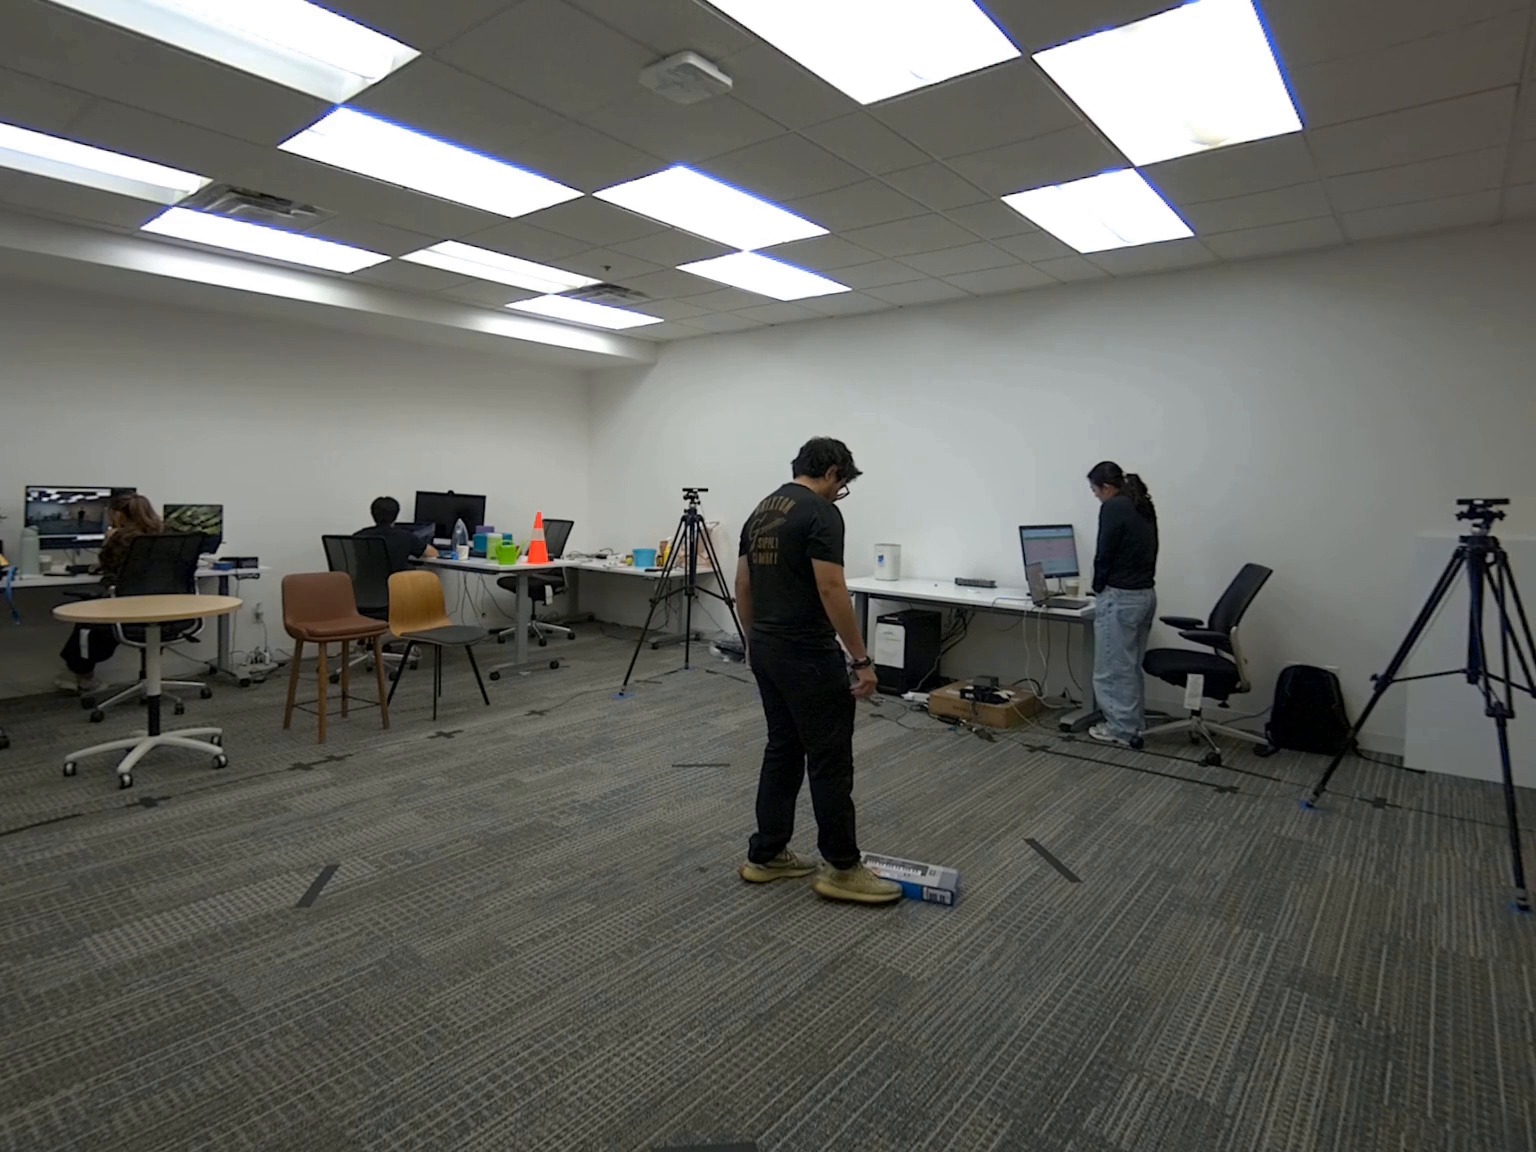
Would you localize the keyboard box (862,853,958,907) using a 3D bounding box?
[{"bbox_3d":[0.438,1.069,3.017,0.447,0.059,0.173,4,7,22],"label":"keyboard box"}]
